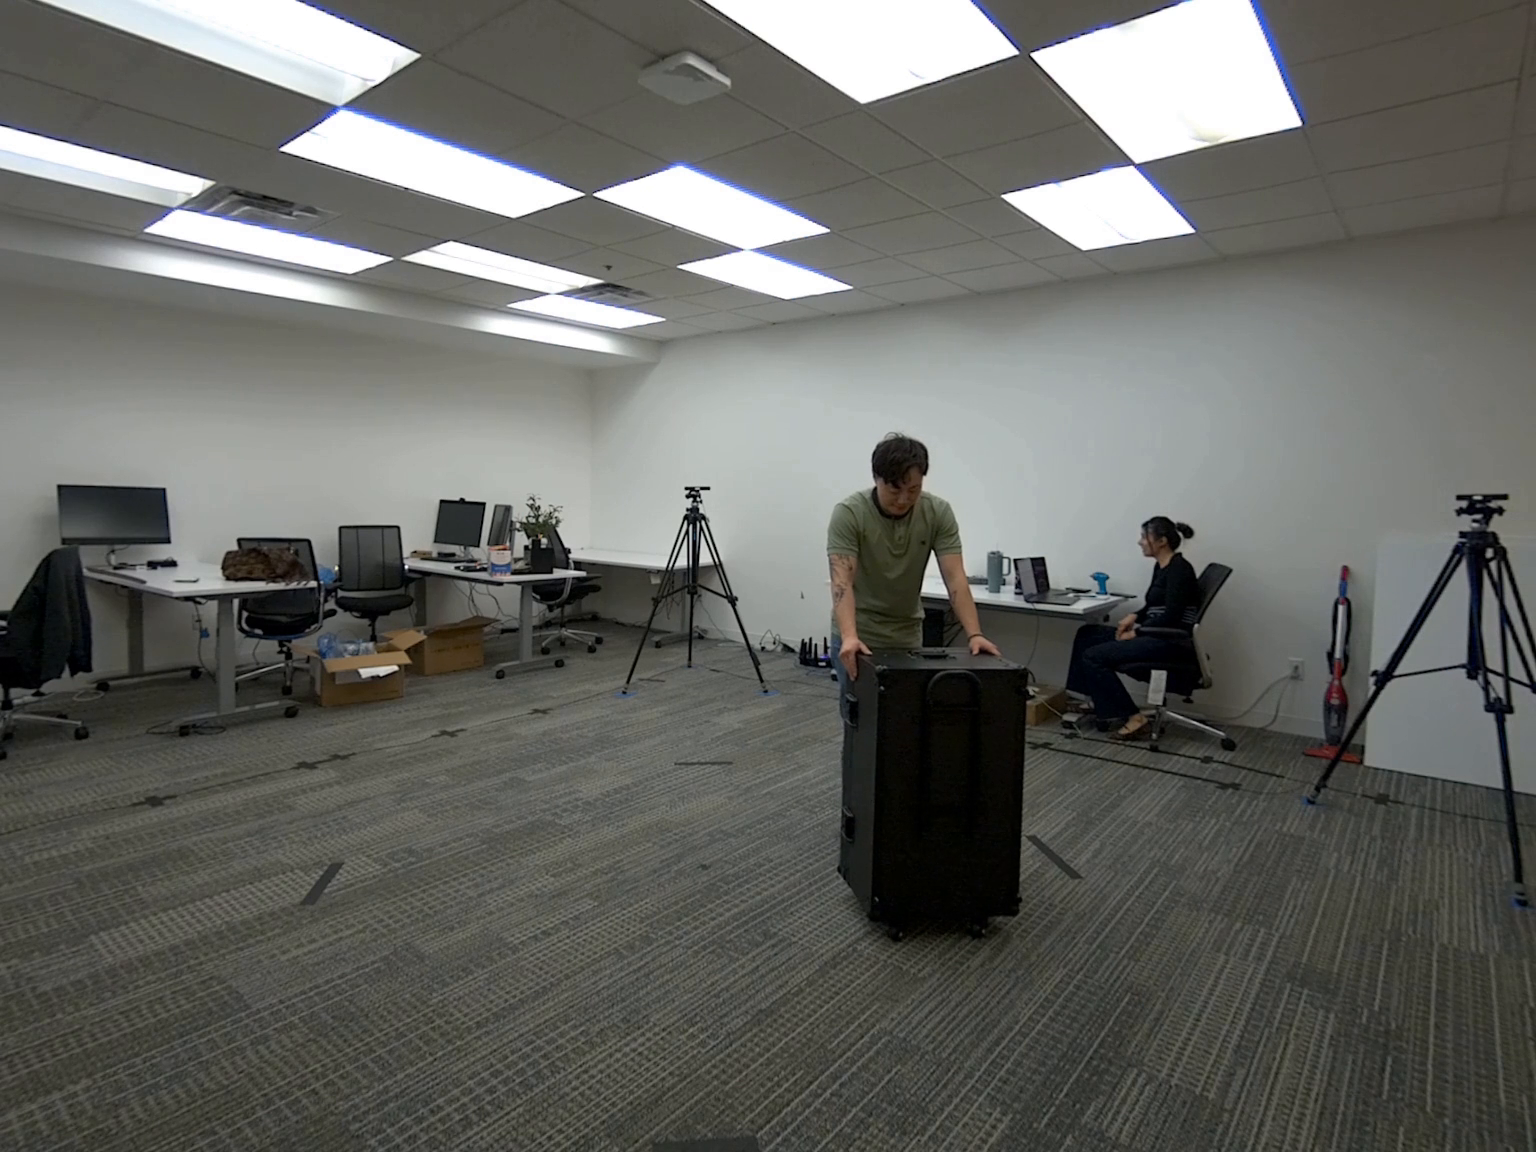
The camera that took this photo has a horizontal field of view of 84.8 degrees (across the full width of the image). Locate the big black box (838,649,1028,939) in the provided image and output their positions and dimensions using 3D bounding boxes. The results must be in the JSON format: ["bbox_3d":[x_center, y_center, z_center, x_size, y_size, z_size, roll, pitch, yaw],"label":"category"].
[{"bbox_3d":[0.531,0.688,2.775,0.516,0.858,0.402,2,4,-9],"label":"big black box"}]
